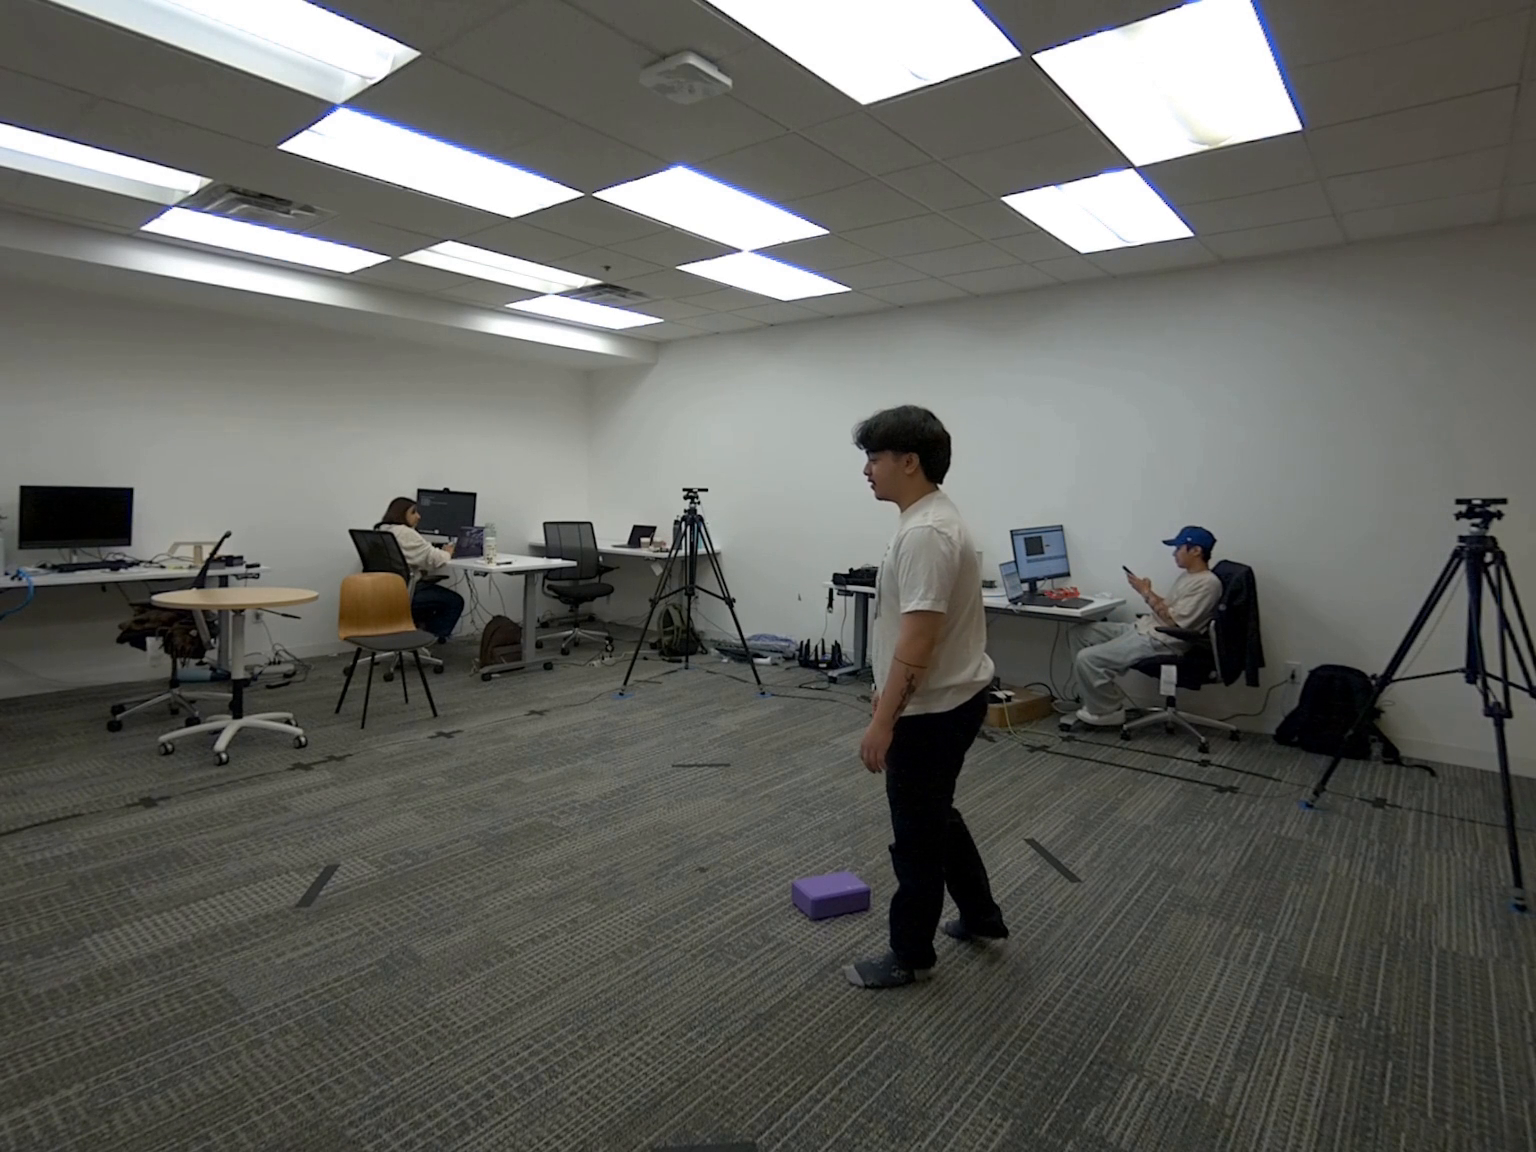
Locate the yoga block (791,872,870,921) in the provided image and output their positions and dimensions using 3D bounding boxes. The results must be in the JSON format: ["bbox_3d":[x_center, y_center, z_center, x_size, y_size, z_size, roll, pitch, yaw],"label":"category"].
[{"bbox_3d":[0.204,1.063,2.854,0.224,0.076,0.153,-1,5,-25],"label":"yoga block"}]
